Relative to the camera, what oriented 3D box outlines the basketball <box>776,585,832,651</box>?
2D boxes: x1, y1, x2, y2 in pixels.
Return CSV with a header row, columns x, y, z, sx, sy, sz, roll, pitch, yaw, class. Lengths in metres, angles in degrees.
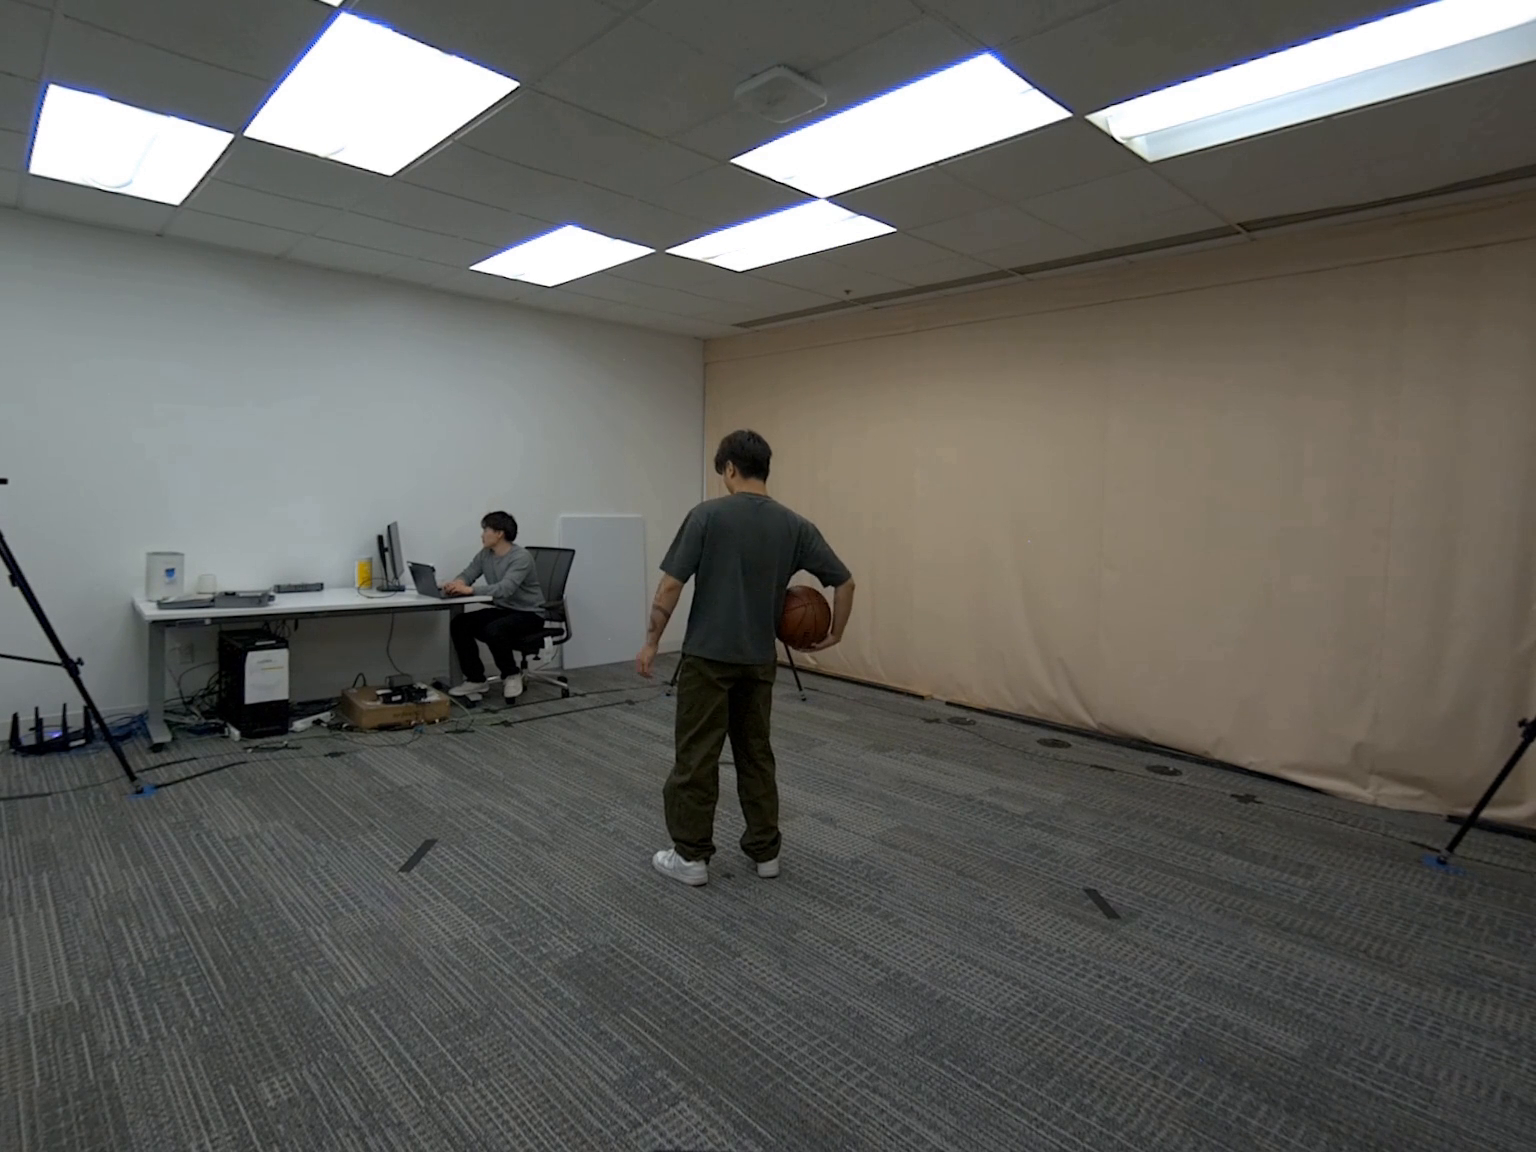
x,y,z,sx,sy,sz,roll,pitch,yaw,class
0.104,0.152,3.202,0.236,0.235,0.237,1,4,-1,basketball
